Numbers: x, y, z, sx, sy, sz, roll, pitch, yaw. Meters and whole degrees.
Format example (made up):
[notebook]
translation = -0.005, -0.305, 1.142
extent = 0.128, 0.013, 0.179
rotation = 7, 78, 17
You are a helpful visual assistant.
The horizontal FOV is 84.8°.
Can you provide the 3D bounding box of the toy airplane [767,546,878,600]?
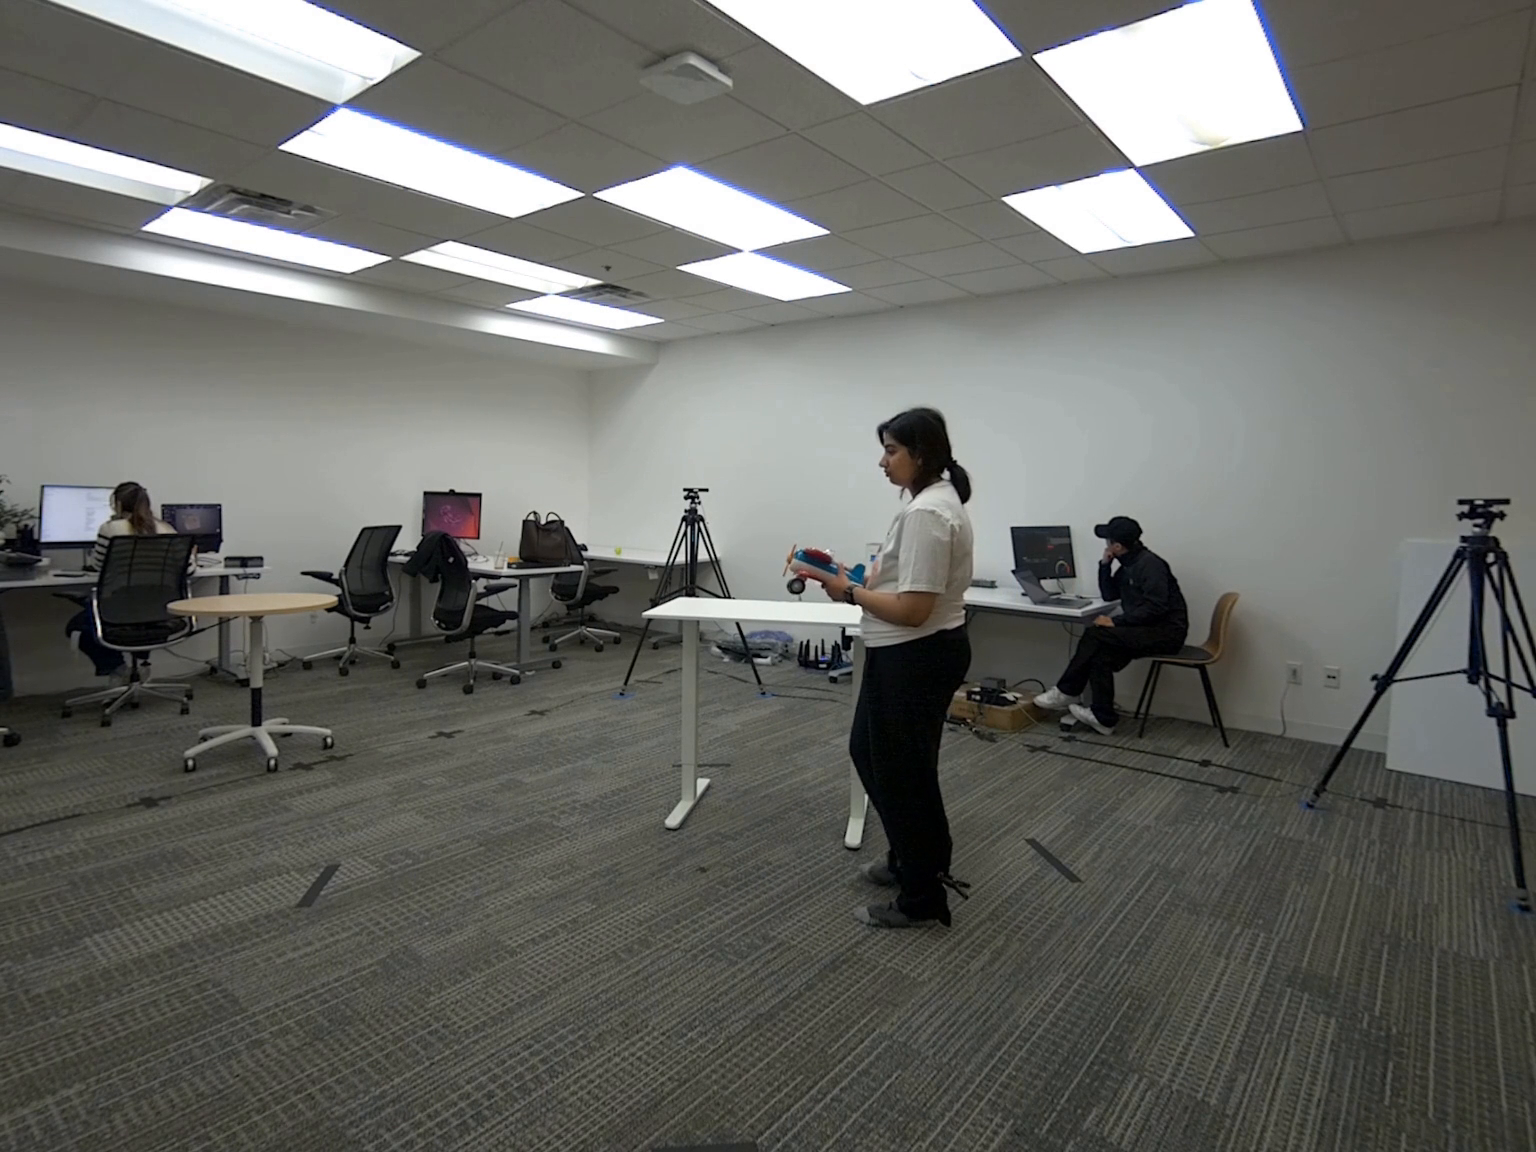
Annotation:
[toy airplane]
translation = 0.180, -0.007, 2.820
extent = 0.252, 0.157, 0.257
rotation = 8, -2, -27
